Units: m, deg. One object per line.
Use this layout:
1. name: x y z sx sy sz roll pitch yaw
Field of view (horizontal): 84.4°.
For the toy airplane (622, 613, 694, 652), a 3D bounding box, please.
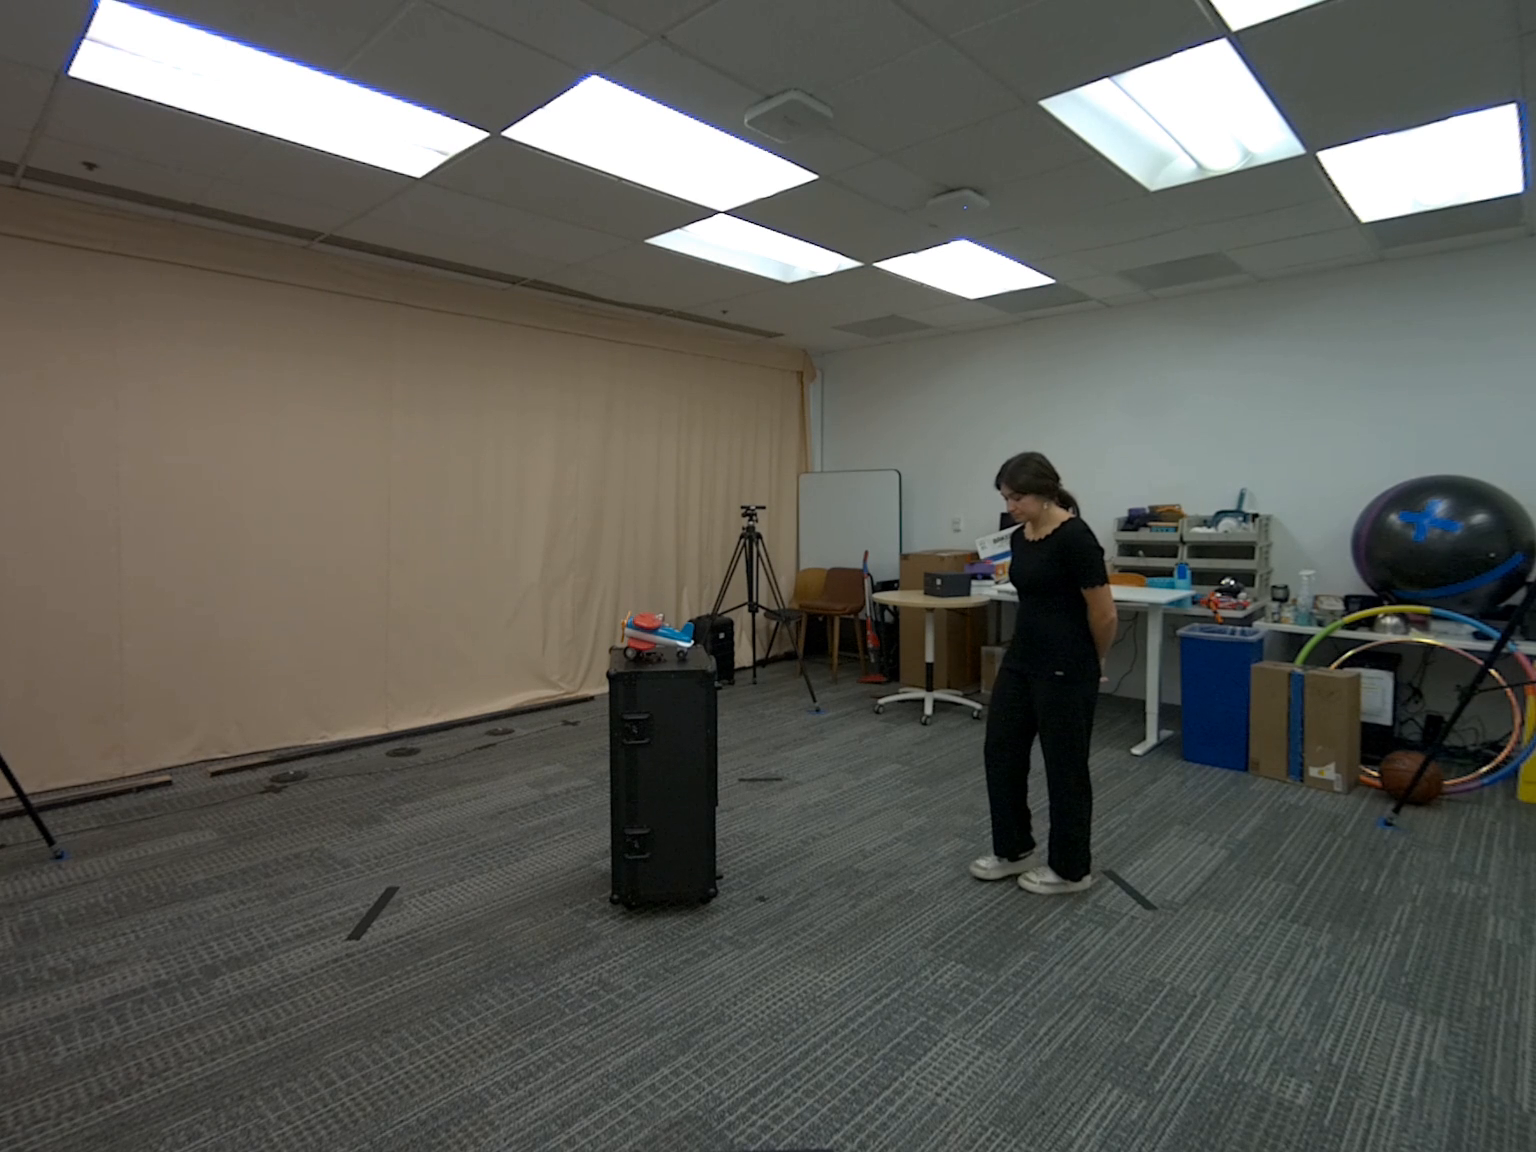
1. toy airplane: -0.394 0.218 3.026 0.253 0.156 0.257 -3 7 -23
